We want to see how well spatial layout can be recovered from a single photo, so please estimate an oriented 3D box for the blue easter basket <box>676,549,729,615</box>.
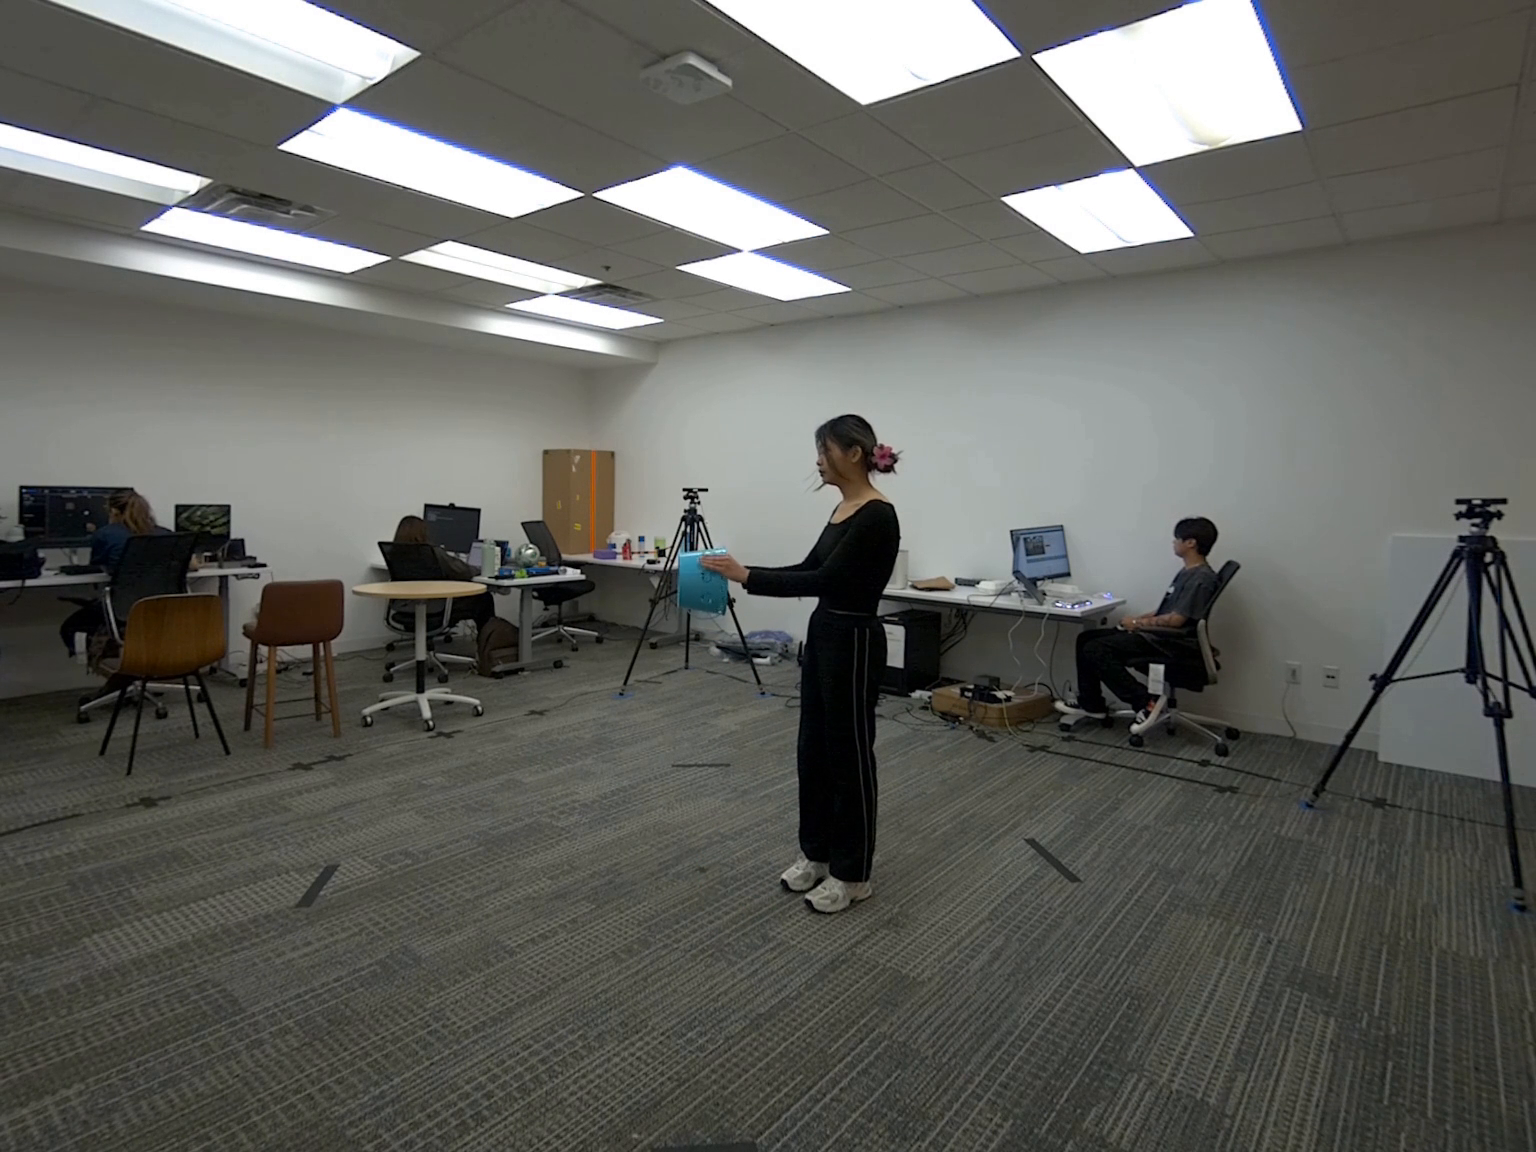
[{"bbox_3d":[-0.224,0.006,2.811,0.155,0.243,0.245,3,4,-4],"label":"blue easter basket"}]
